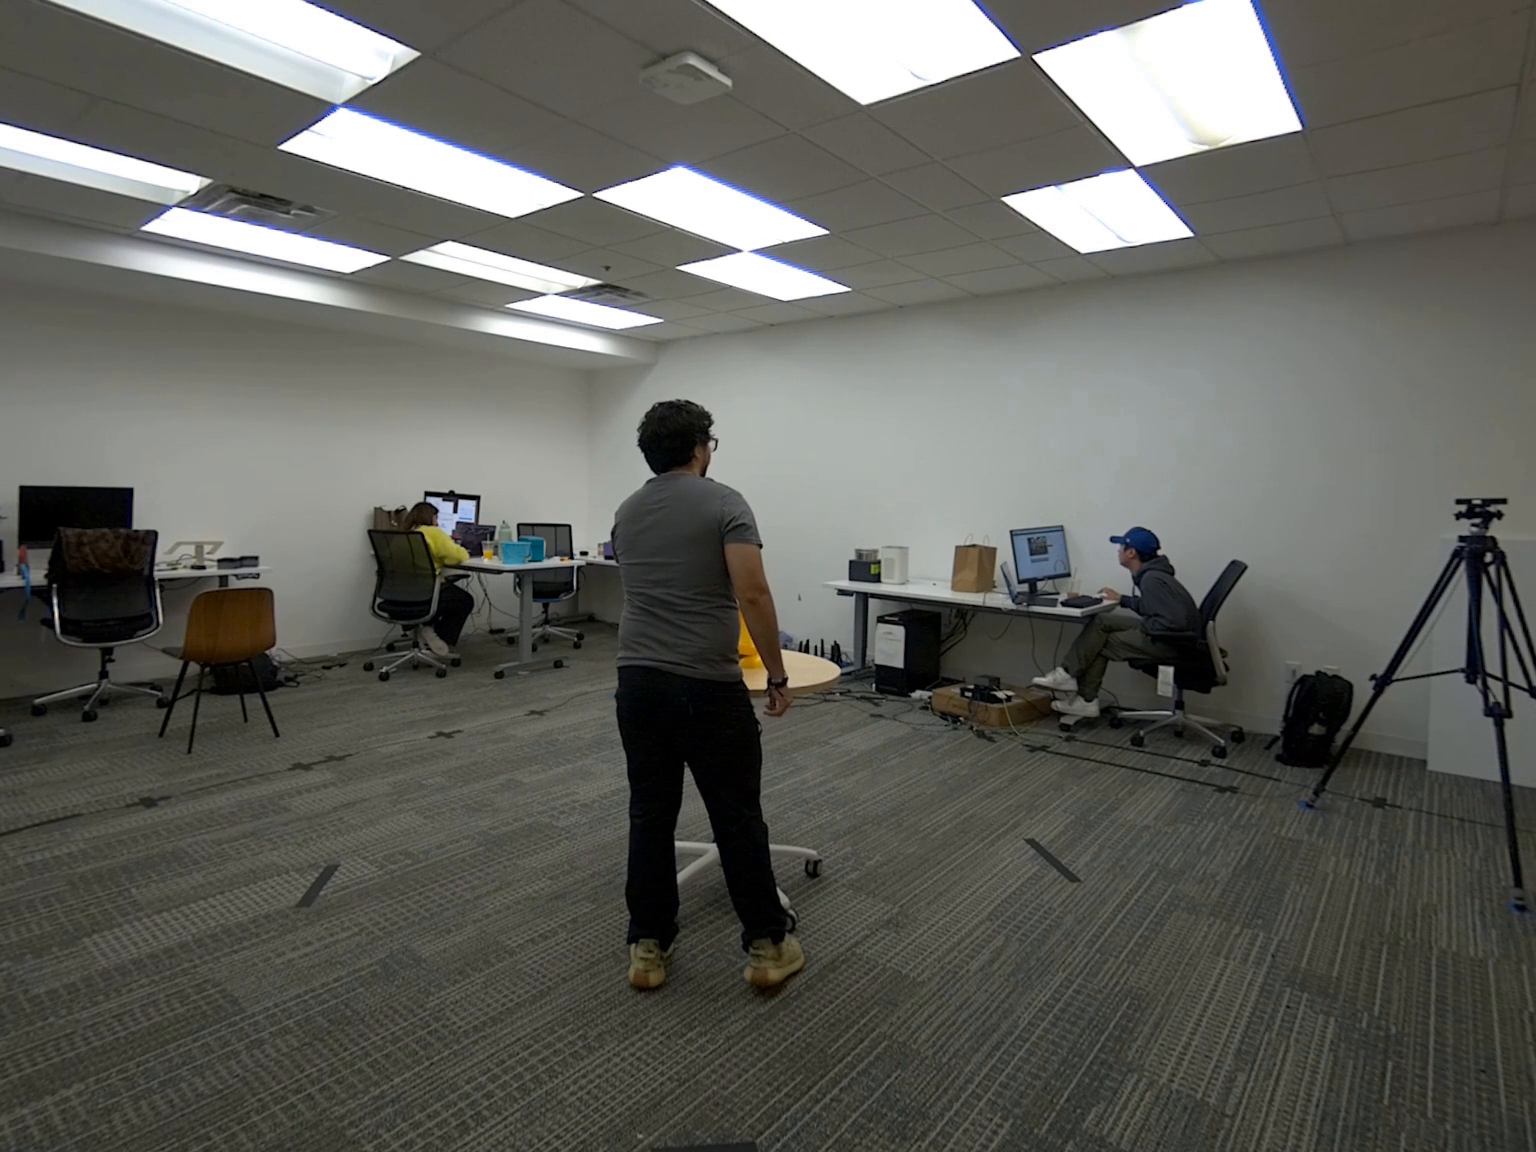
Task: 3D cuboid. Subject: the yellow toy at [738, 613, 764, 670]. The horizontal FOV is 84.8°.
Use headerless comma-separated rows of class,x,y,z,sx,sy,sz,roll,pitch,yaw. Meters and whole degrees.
yellow toy,-0.093,0.187,2.979,0.211,0.230,0.187,5,5,36
